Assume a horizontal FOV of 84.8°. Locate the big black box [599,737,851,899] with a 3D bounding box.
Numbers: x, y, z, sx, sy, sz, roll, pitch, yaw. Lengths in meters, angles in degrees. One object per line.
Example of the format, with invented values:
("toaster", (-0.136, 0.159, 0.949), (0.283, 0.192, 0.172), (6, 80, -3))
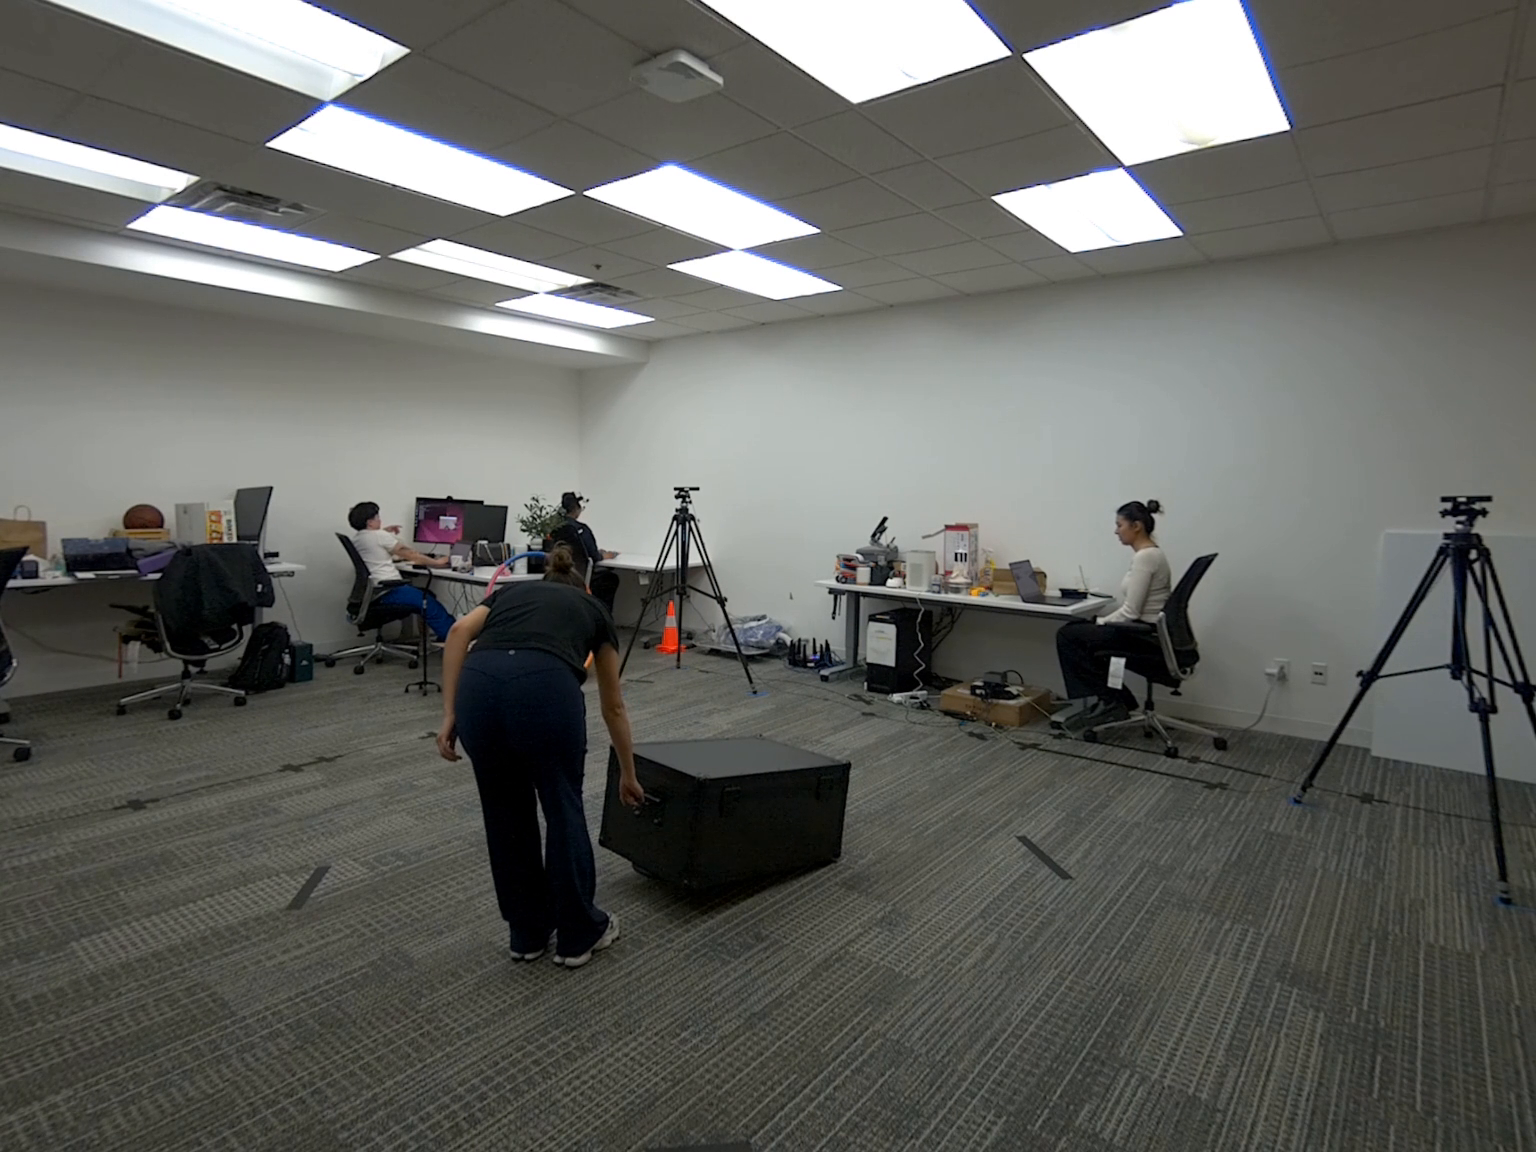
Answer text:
("big black box", (-0.146, 0.832, 3.102), (0.831, 0.397, 0.539), (7, -1, -45))
